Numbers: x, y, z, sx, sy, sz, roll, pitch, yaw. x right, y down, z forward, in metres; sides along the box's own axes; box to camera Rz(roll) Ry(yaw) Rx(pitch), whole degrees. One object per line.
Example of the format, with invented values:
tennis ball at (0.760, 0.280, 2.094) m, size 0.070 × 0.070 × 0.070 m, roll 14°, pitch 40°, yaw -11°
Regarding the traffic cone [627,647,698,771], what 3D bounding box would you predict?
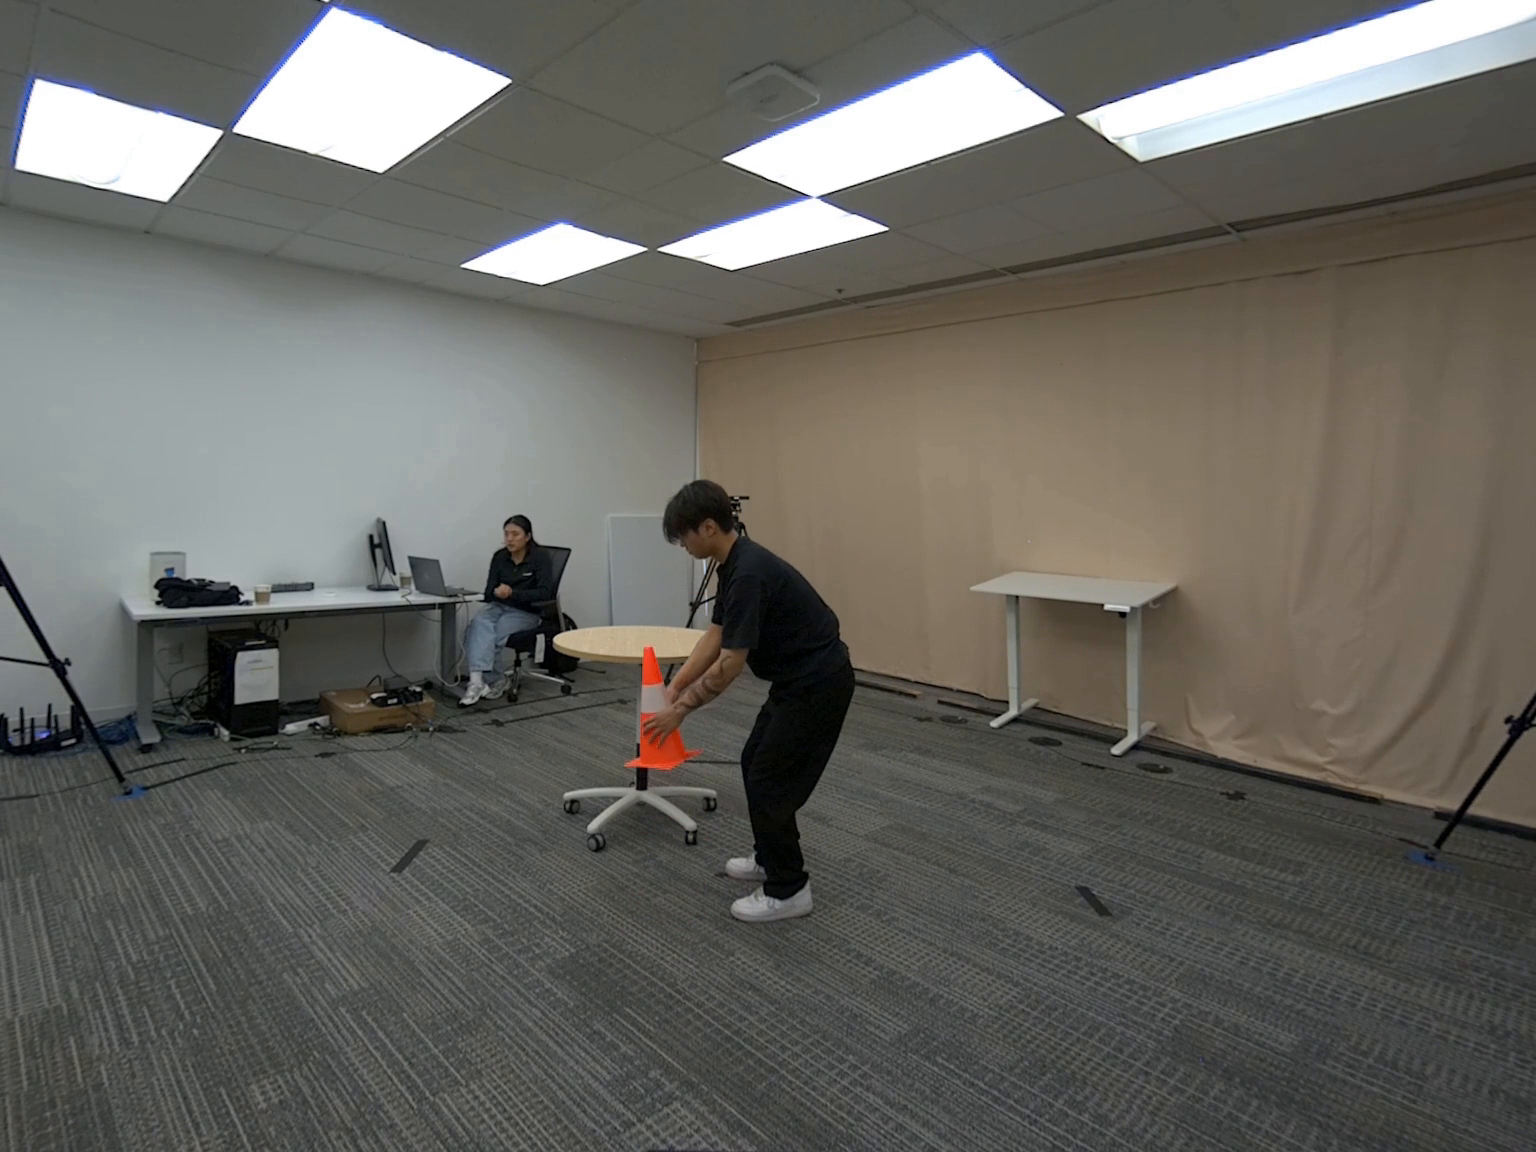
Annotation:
traffic cone at (-0.383, 0.431, 2.840) m, size 0.209 × 0.384 × 0.199 m, roll -7°, pitch 0°, yaw 34°
